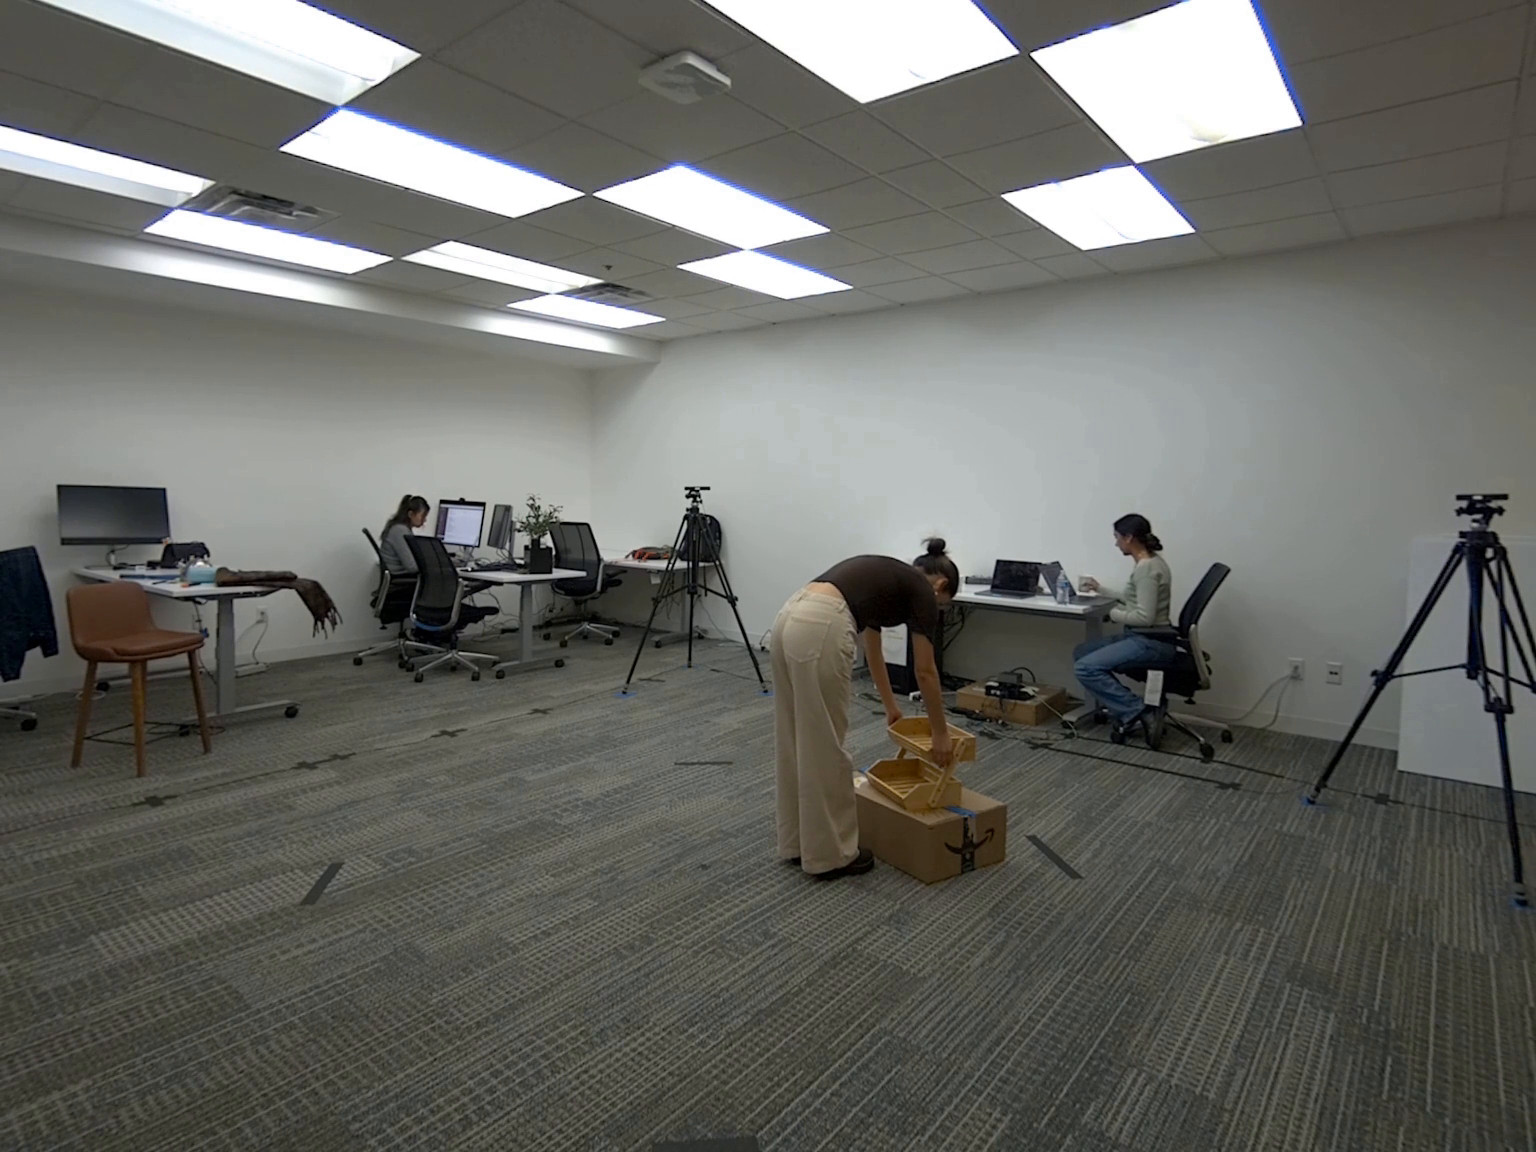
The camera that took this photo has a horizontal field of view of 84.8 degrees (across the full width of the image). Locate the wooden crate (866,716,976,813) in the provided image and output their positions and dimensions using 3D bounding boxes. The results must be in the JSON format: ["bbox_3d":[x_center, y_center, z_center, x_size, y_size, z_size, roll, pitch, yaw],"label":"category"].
[{"bbox_3d":[0.566,0.706,3.311,0.296,0.272,0.332,0,5,-20],"label":"wooden crate"}]
